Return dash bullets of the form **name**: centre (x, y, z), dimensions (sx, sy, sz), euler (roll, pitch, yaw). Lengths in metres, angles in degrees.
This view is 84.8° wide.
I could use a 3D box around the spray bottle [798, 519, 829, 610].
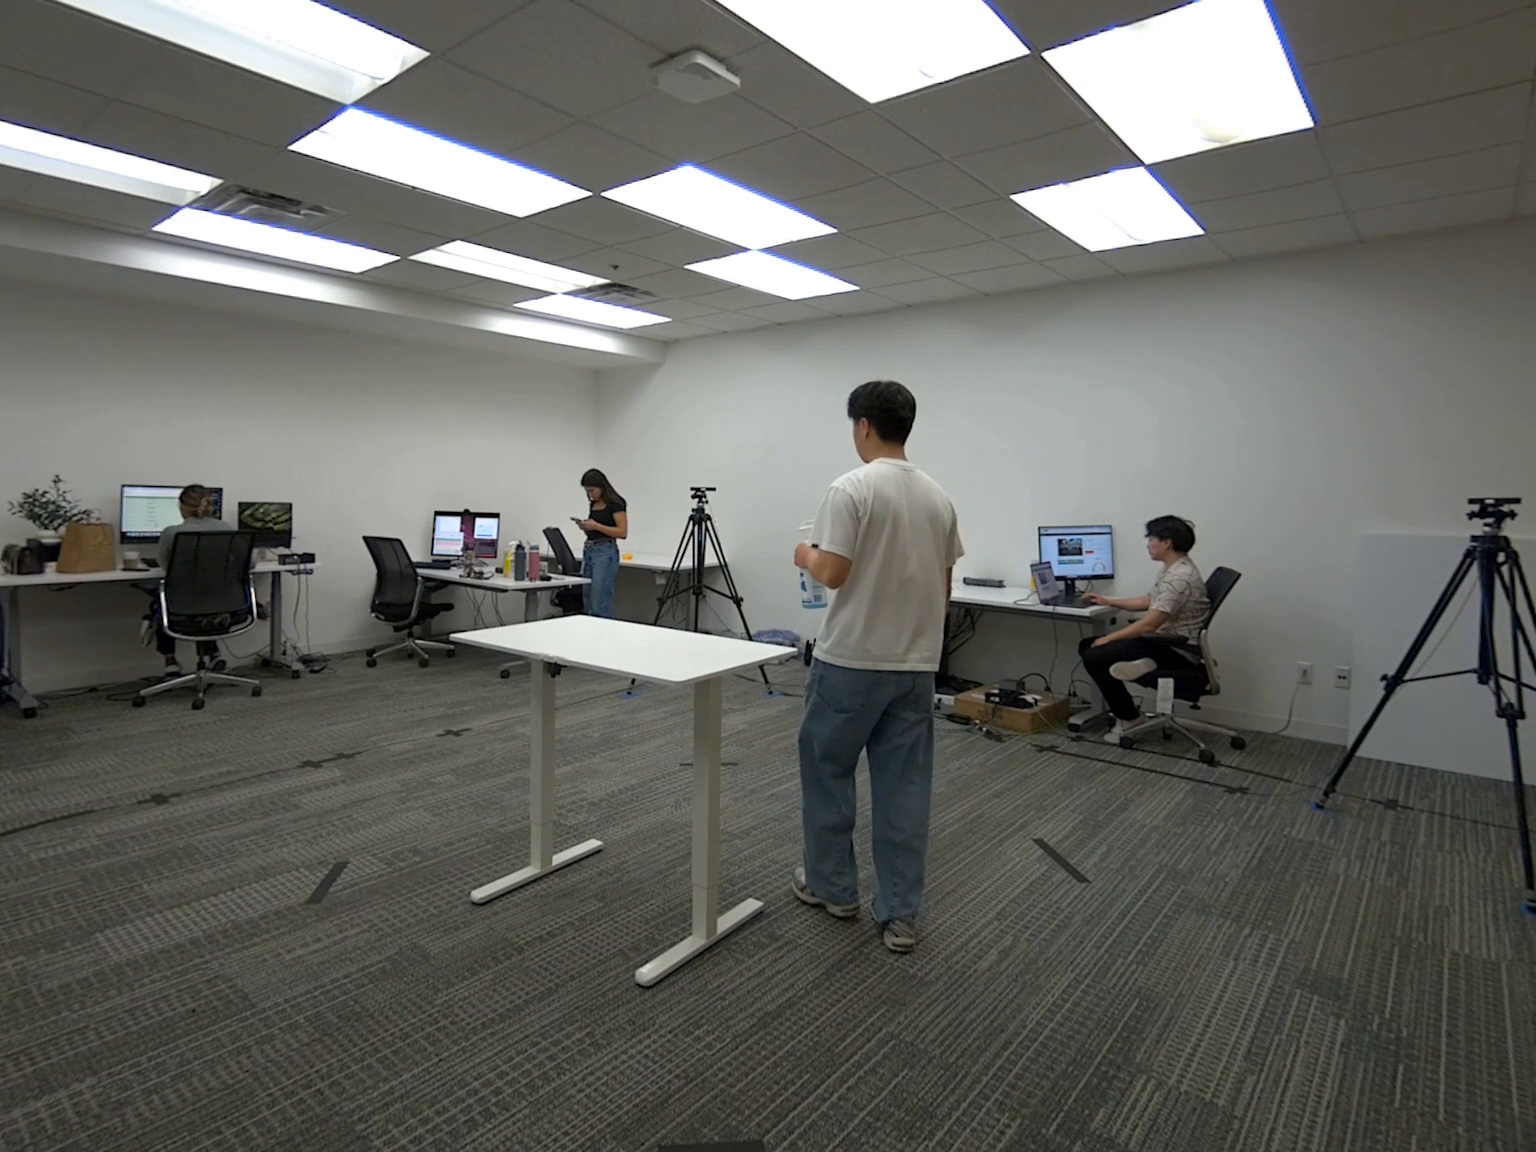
- **spray bottle**: centre (0.138, -0.039, 2.877), dimensions (0.085, 0.296, 0.093), euler (-6, 5, -34)
